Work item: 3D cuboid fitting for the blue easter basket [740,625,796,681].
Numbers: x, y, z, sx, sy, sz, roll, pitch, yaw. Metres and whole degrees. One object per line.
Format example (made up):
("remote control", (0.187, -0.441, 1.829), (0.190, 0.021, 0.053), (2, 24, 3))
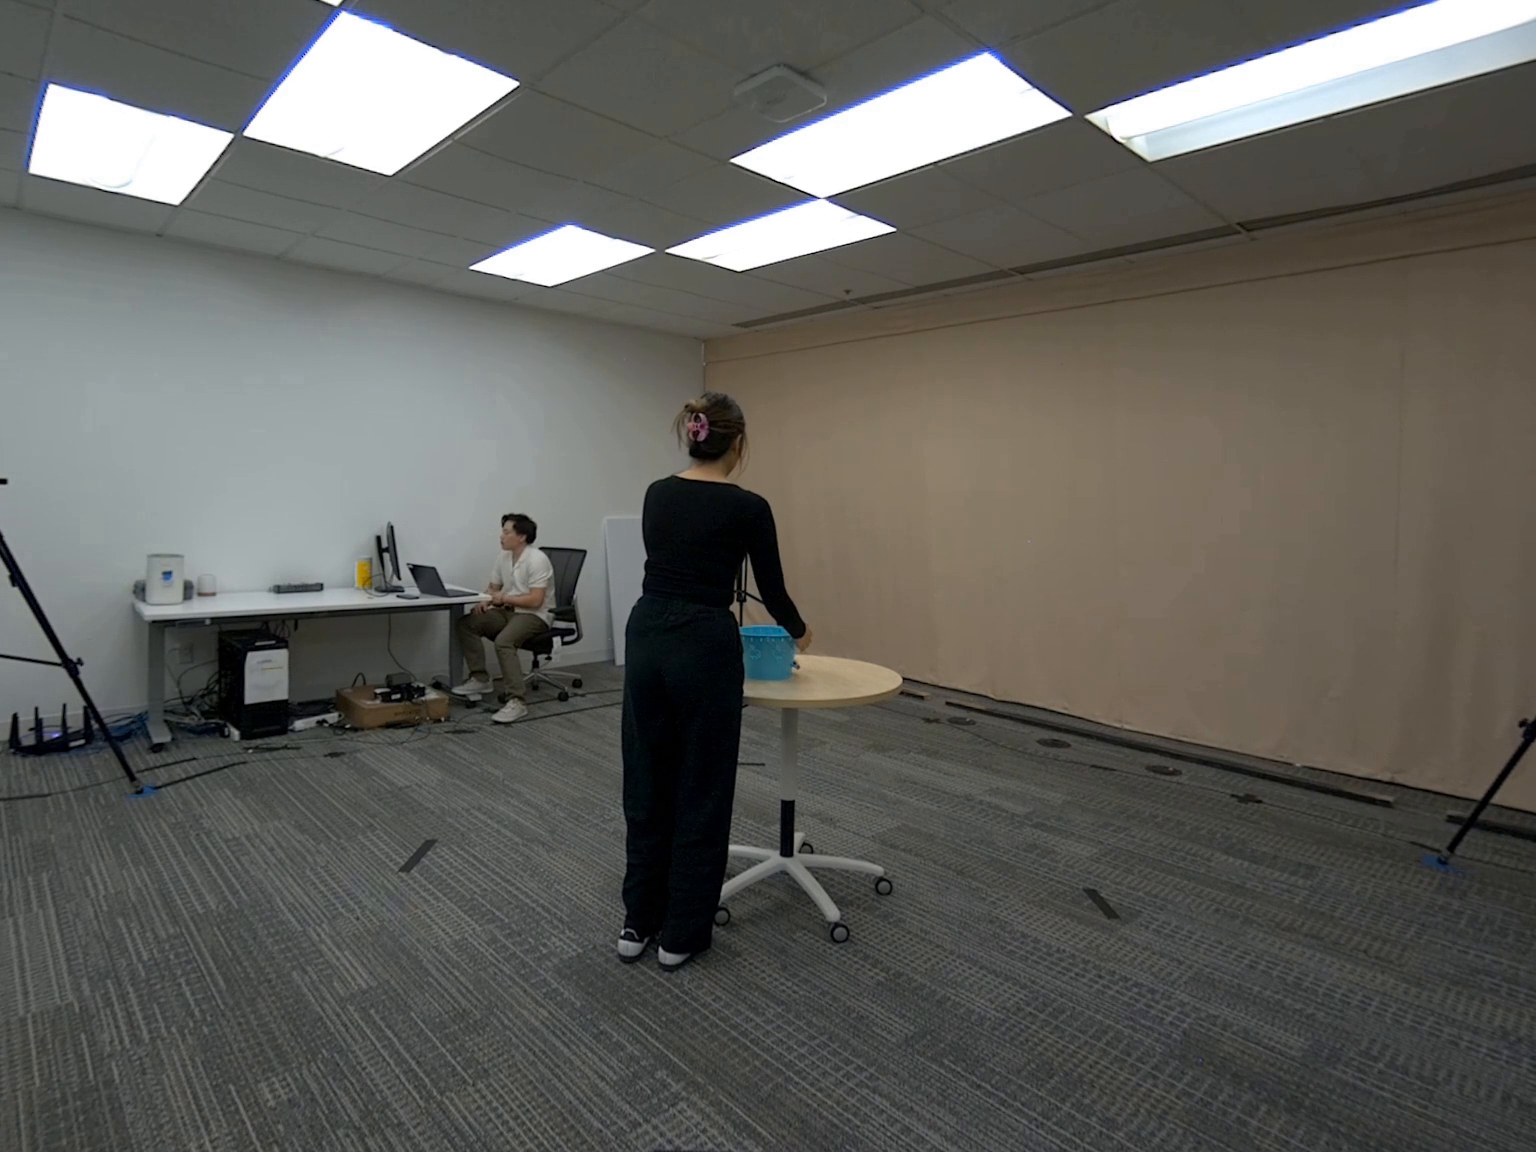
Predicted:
("blue easter basket", (-0.004, 0.271, 2.914), (0.243, 0.155, 0.245), (0, 6, -1))
